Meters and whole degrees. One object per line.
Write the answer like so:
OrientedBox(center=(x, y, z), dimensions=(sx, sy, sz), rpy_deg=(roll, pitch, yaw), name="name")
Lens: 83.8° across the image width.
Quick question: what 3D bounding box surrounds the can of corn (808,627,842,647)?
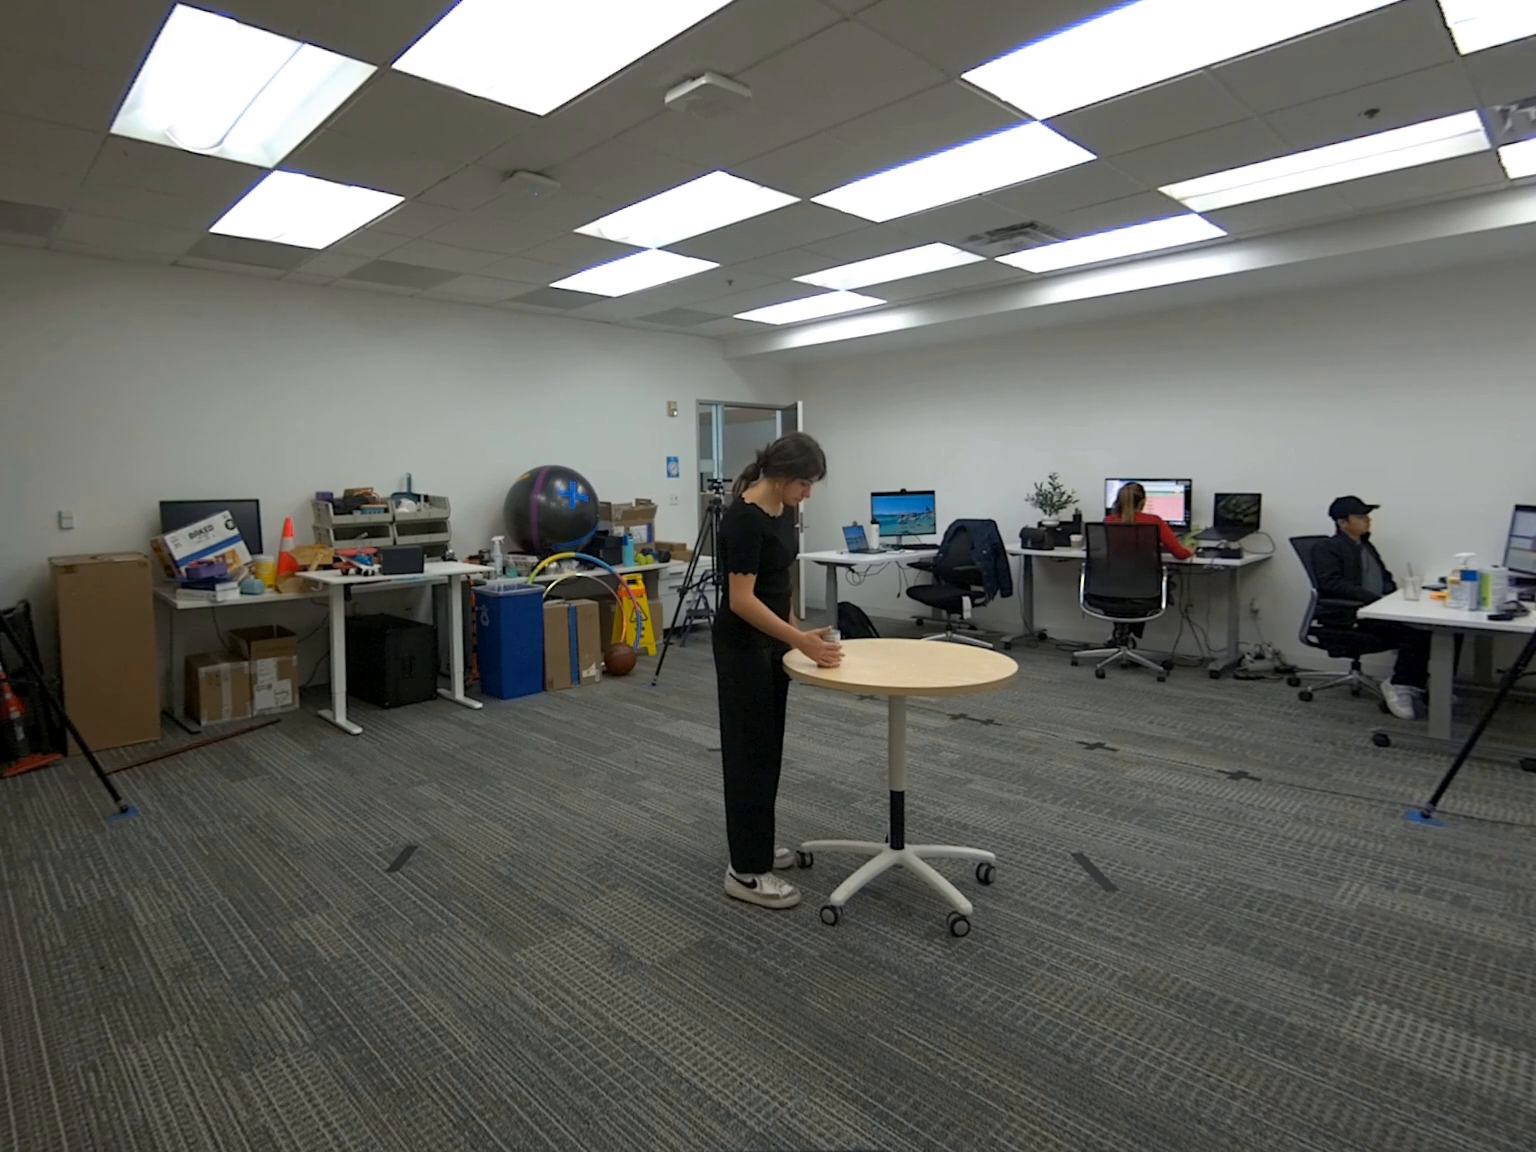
OrientedBox(center=(0.199, 0.234, 2.773), dimensions=(0.074, 0.110, 0.074), rpy_deg=(0, 5, -2), name="can of corn")
